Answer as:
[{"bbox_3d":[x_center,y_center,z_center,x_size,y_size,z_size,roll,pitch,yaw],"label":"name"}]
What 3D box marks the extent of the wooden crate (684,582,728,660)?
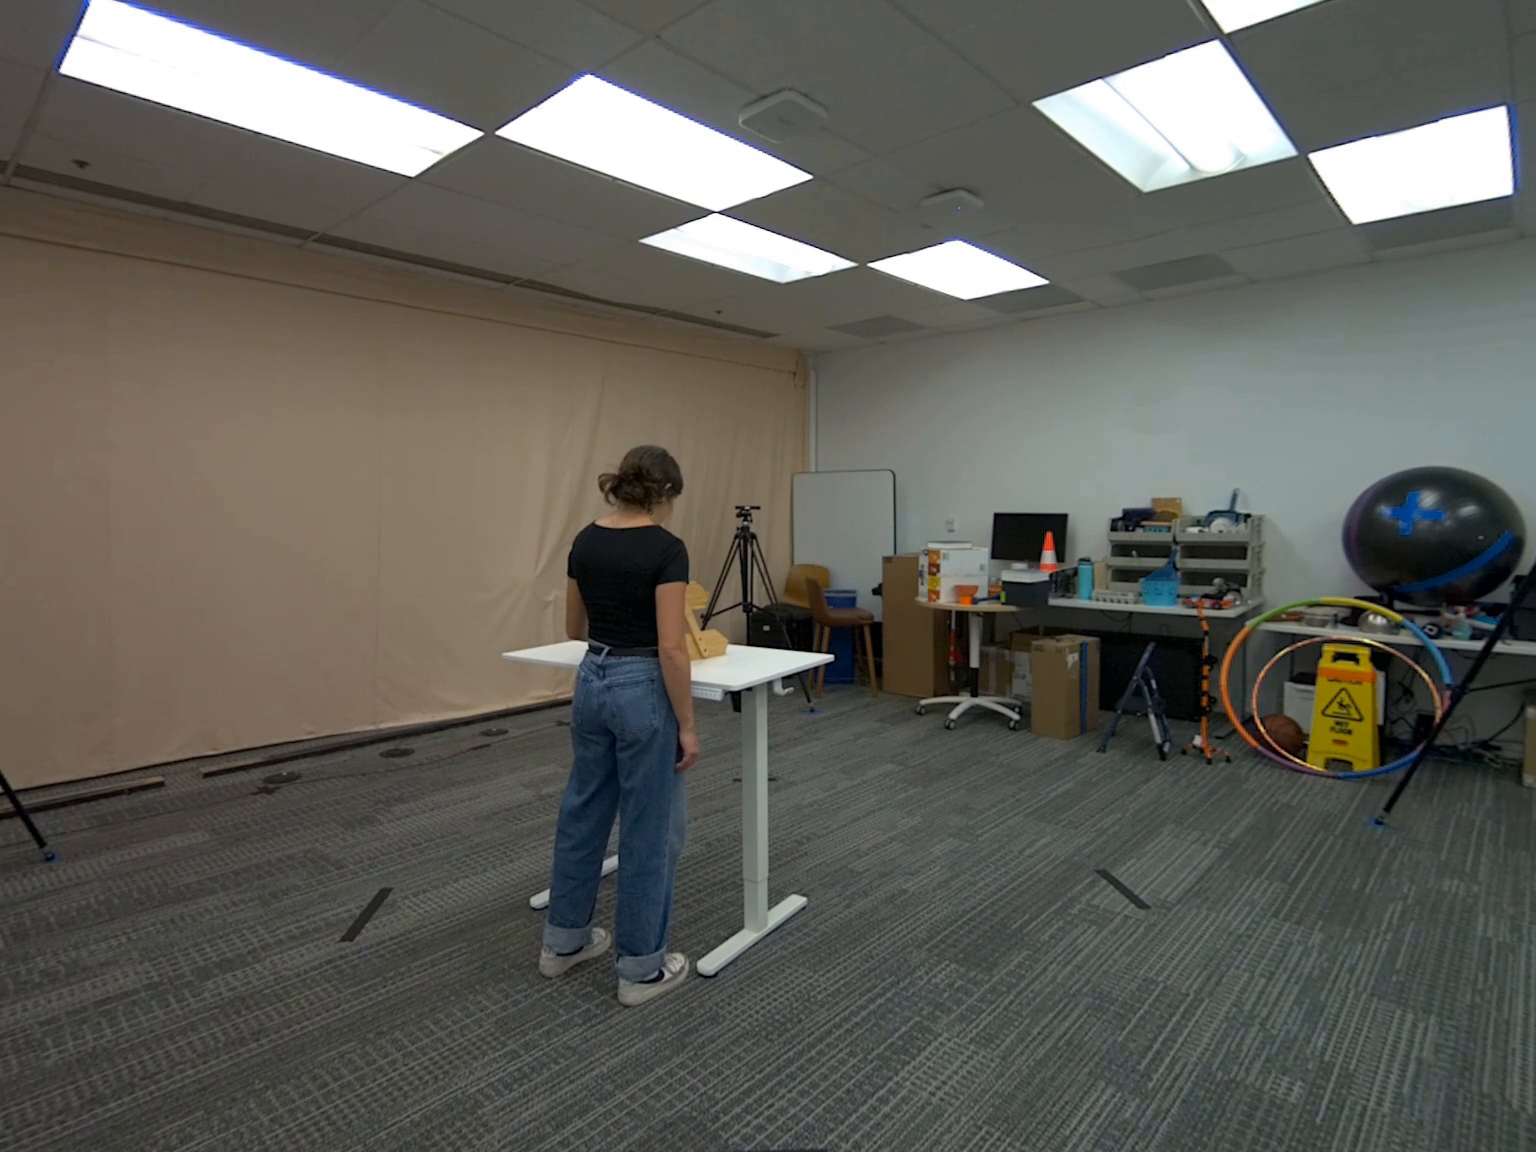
[{"bbox_3d":[-0.345,0.140,2.889,0.335,0.273,0.293,2,5,43],"label":"wooden crate"}]
